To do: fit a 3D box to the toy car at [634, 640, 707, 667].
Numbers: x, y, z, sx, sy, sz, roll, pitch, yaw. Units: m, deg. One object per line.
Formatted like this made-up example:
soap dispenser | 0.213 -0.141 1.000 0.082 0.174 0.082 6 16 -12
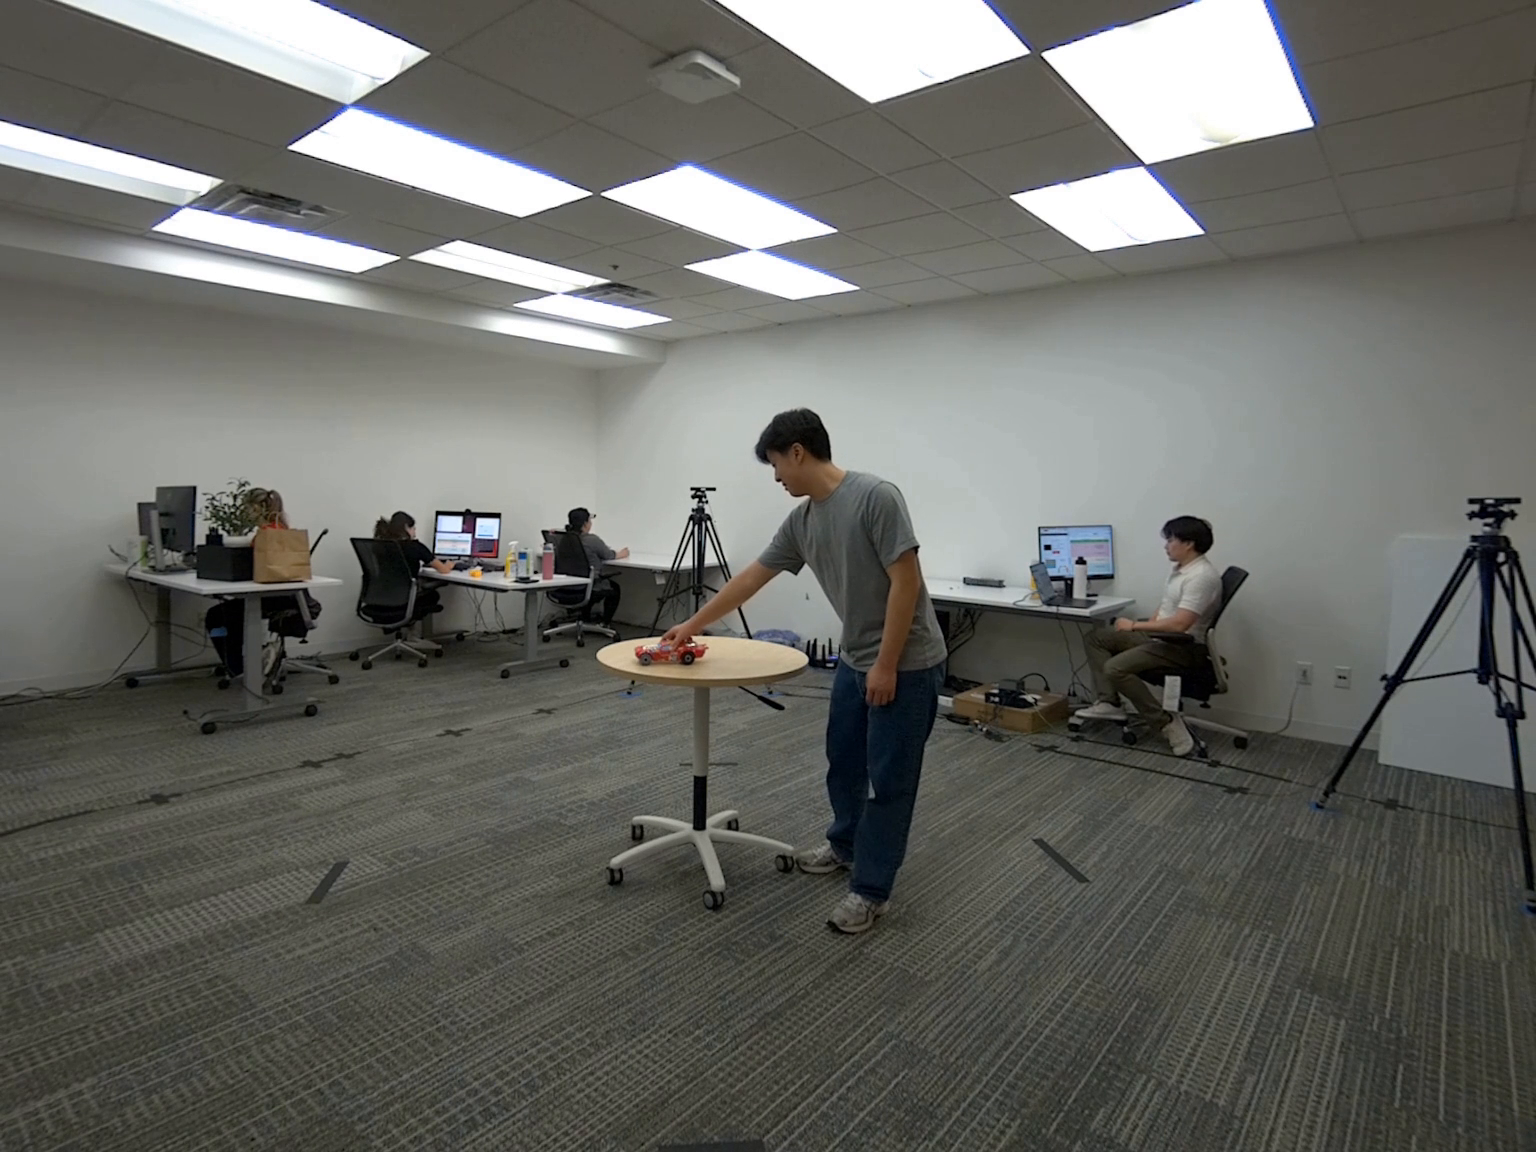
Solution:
toy car | -0.338 0.262 2.952 0.253 0.083 0.132 -8 7 -4
